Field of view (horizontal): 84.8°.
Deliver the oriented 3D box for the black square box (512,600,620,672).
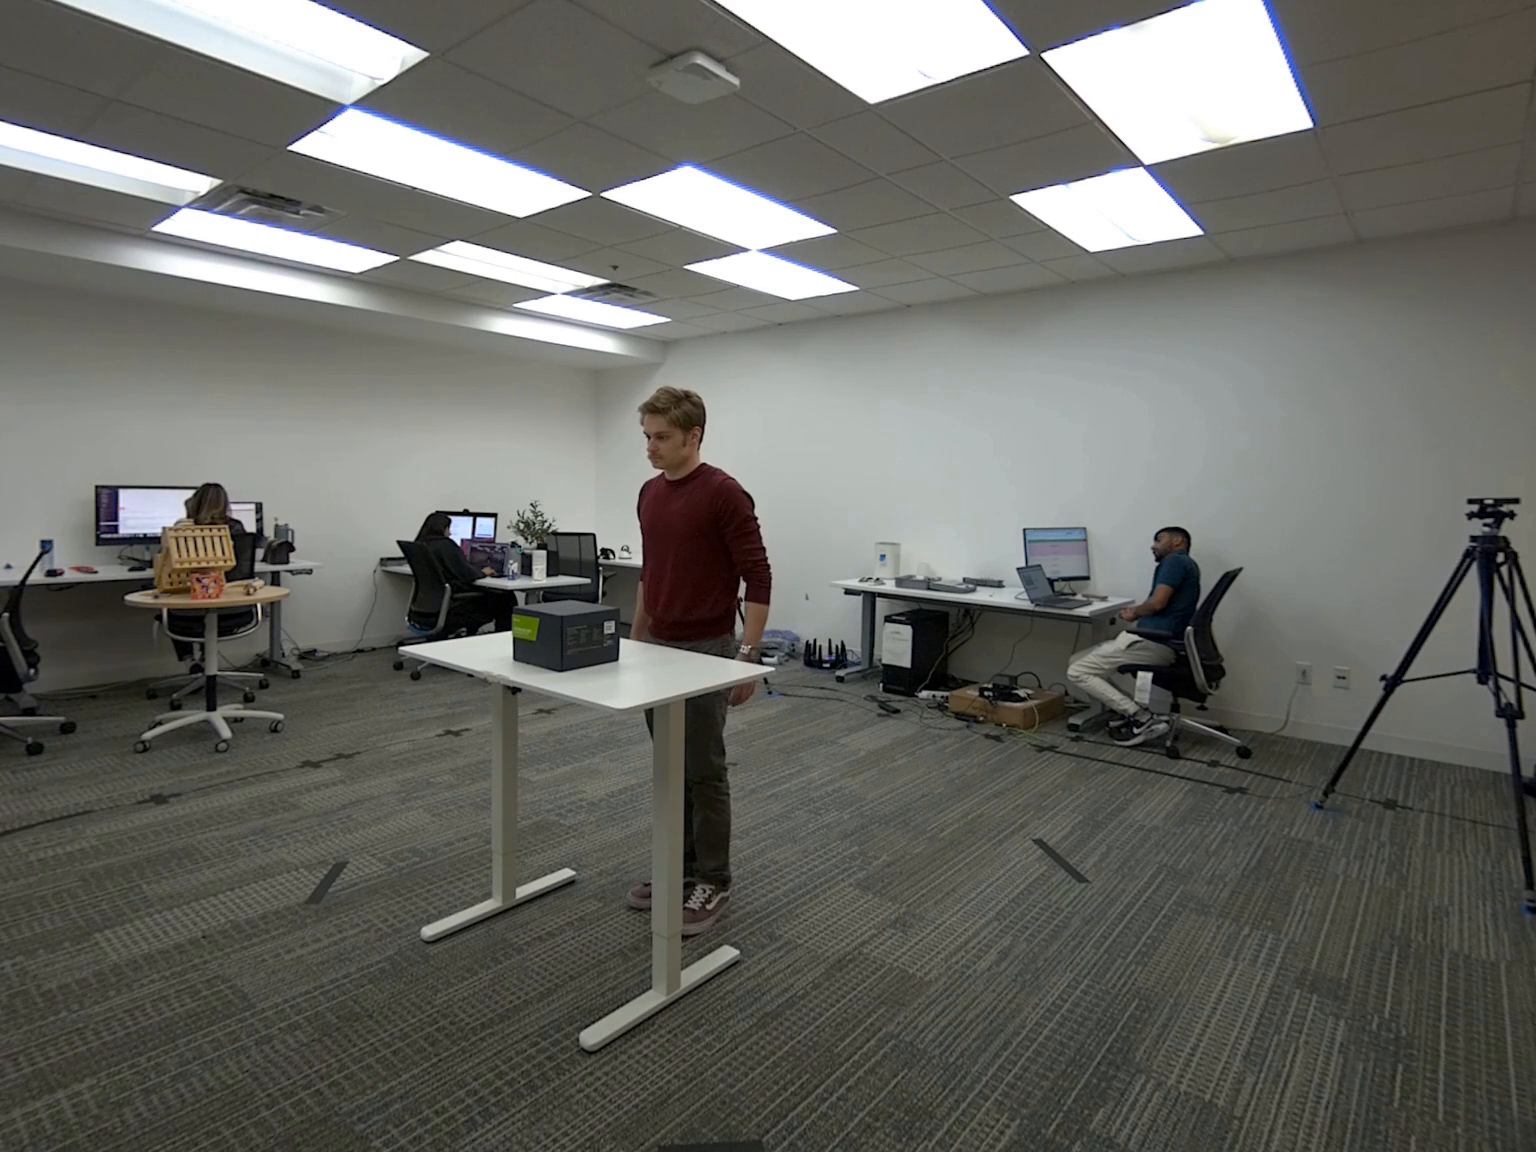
[{"bbox_3d":[-0.595,0.163,2.461,0.235,0.155,0.211,5,7,39],"label":"black square box"}]
